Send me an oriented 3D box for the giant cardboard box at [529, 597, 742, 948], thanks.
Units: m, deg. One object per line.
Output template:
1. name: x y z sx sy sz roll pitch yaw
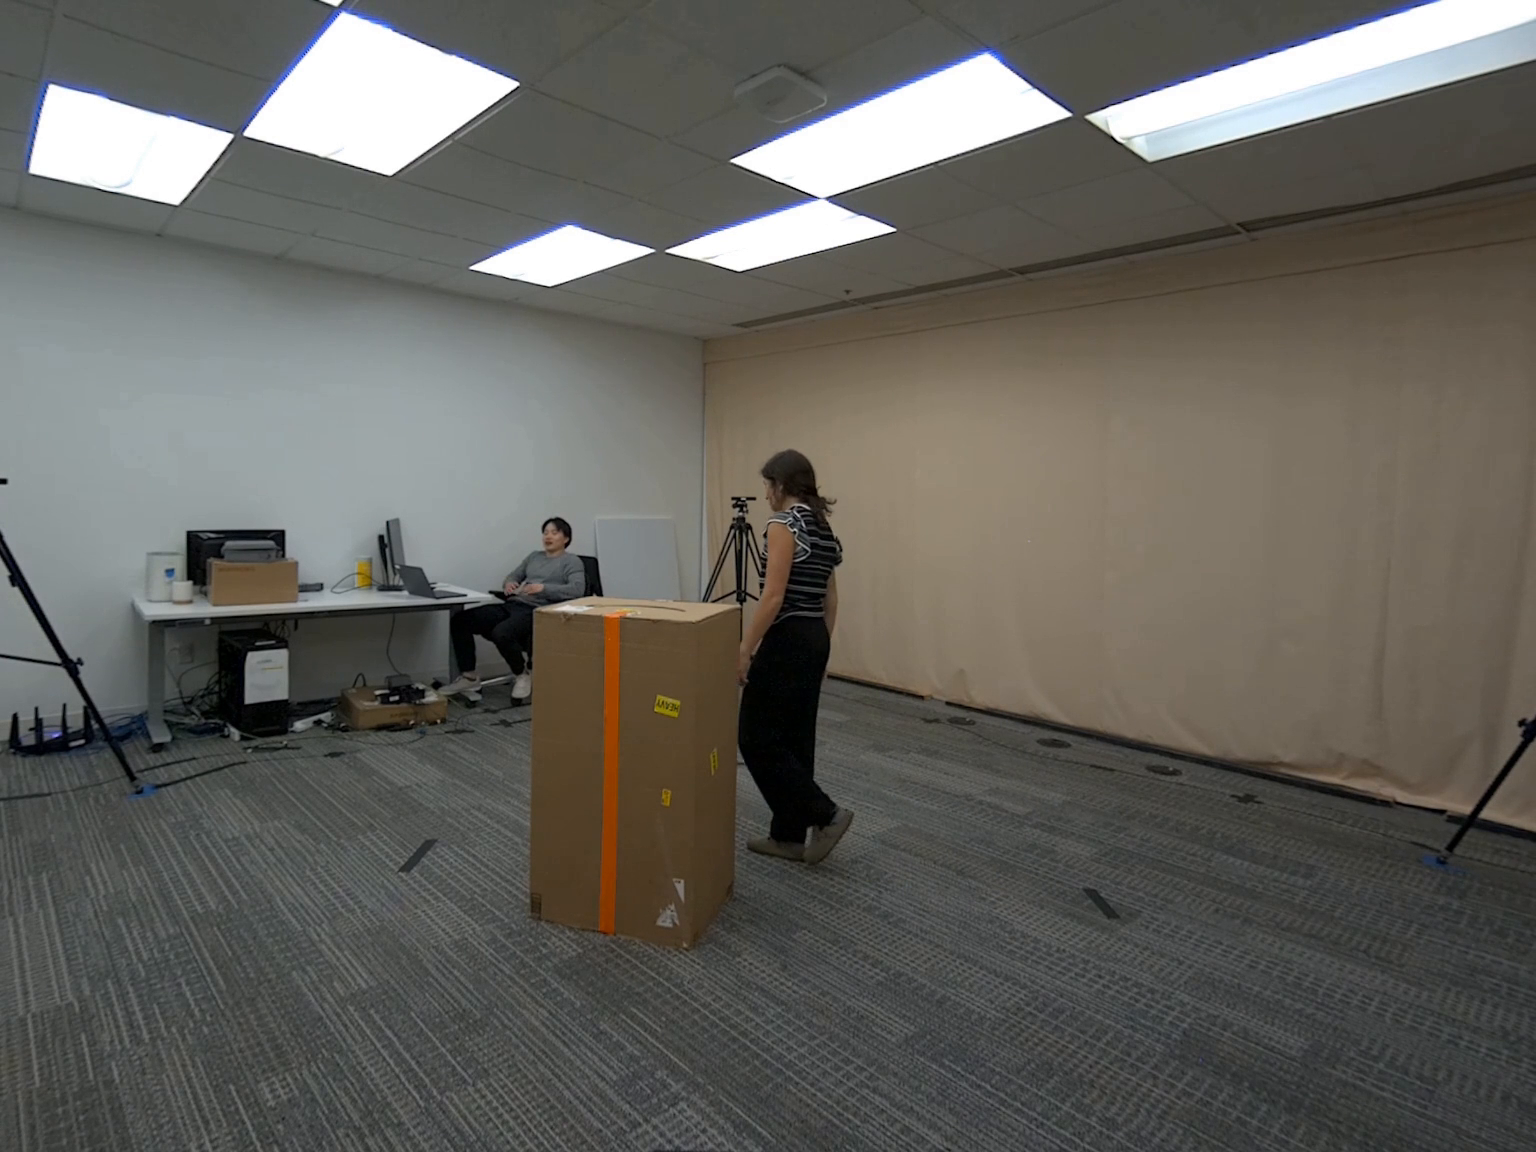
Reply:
1. giant cardboard box: -0.445 0.613 2.844 0.586 1.023 0.421 3 3 18
